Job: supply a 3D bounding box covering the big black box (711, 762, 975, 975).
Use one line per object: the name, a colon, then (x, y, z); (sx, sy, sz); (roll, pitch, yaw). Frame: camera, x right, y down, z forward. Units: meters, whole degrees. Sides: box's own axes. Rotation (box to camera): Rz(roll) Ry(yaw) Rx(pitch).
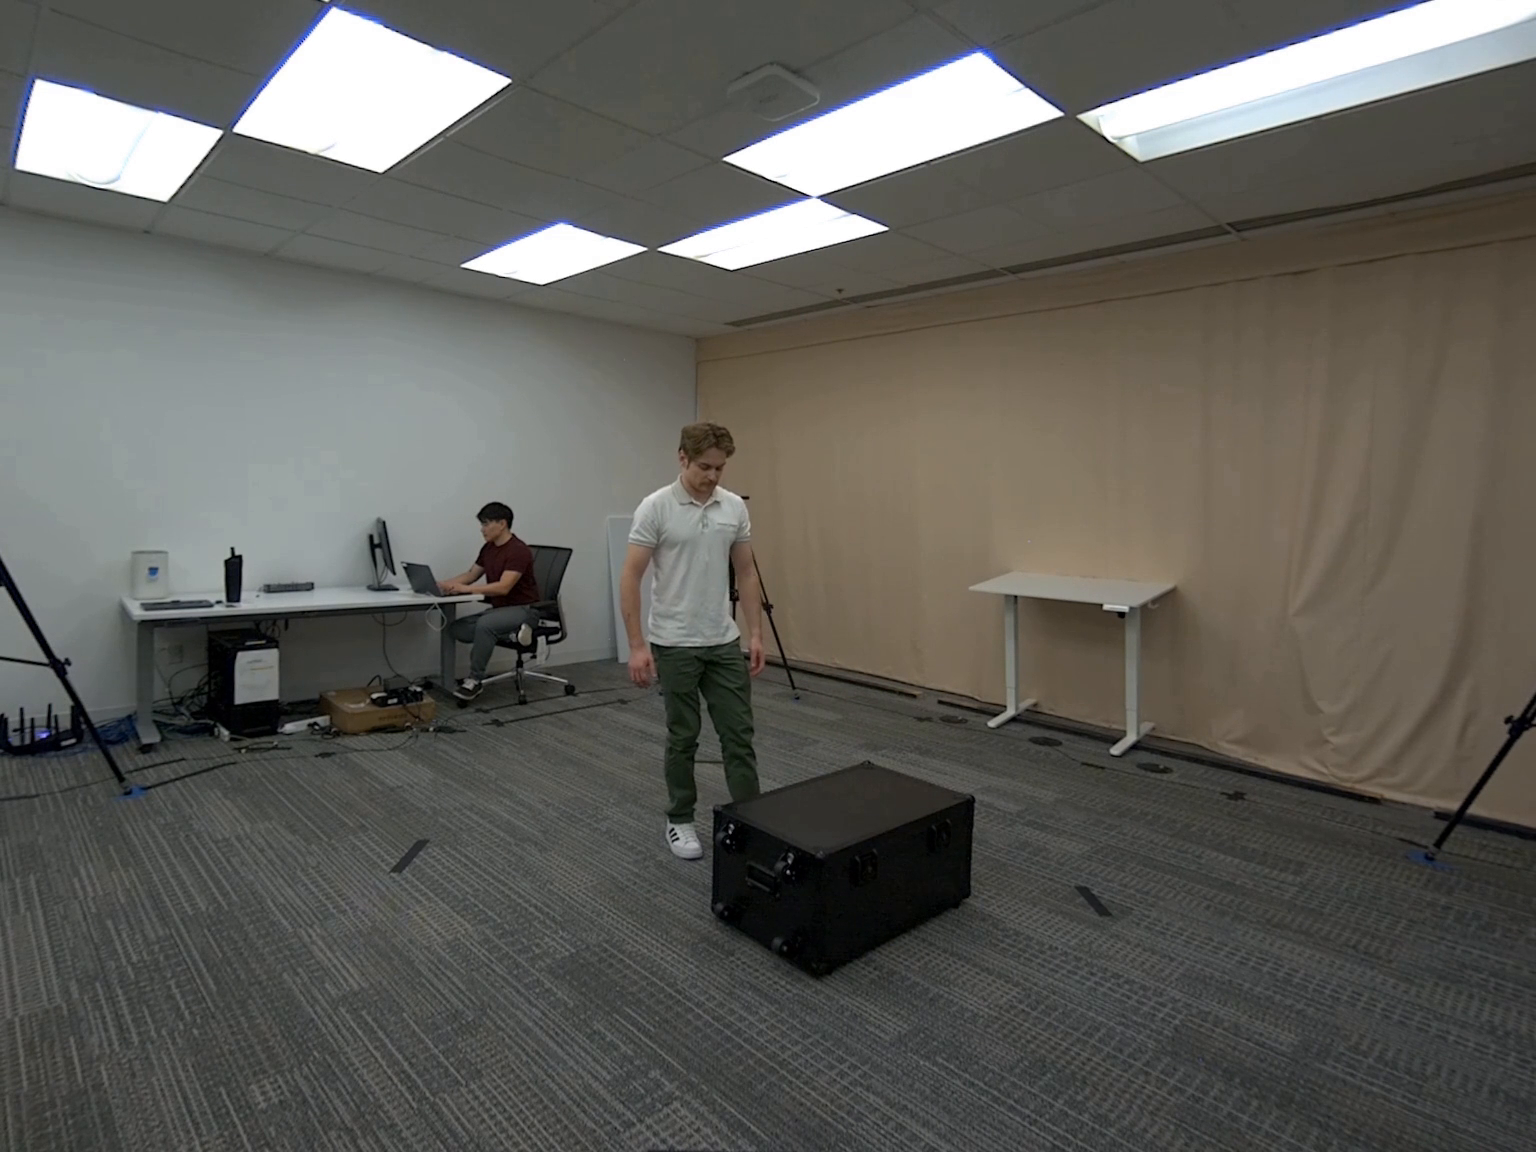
big black box: (0.236, 0.949, 2.820); (0.841, 0.395, 0.535); (-2, 5, -43)
